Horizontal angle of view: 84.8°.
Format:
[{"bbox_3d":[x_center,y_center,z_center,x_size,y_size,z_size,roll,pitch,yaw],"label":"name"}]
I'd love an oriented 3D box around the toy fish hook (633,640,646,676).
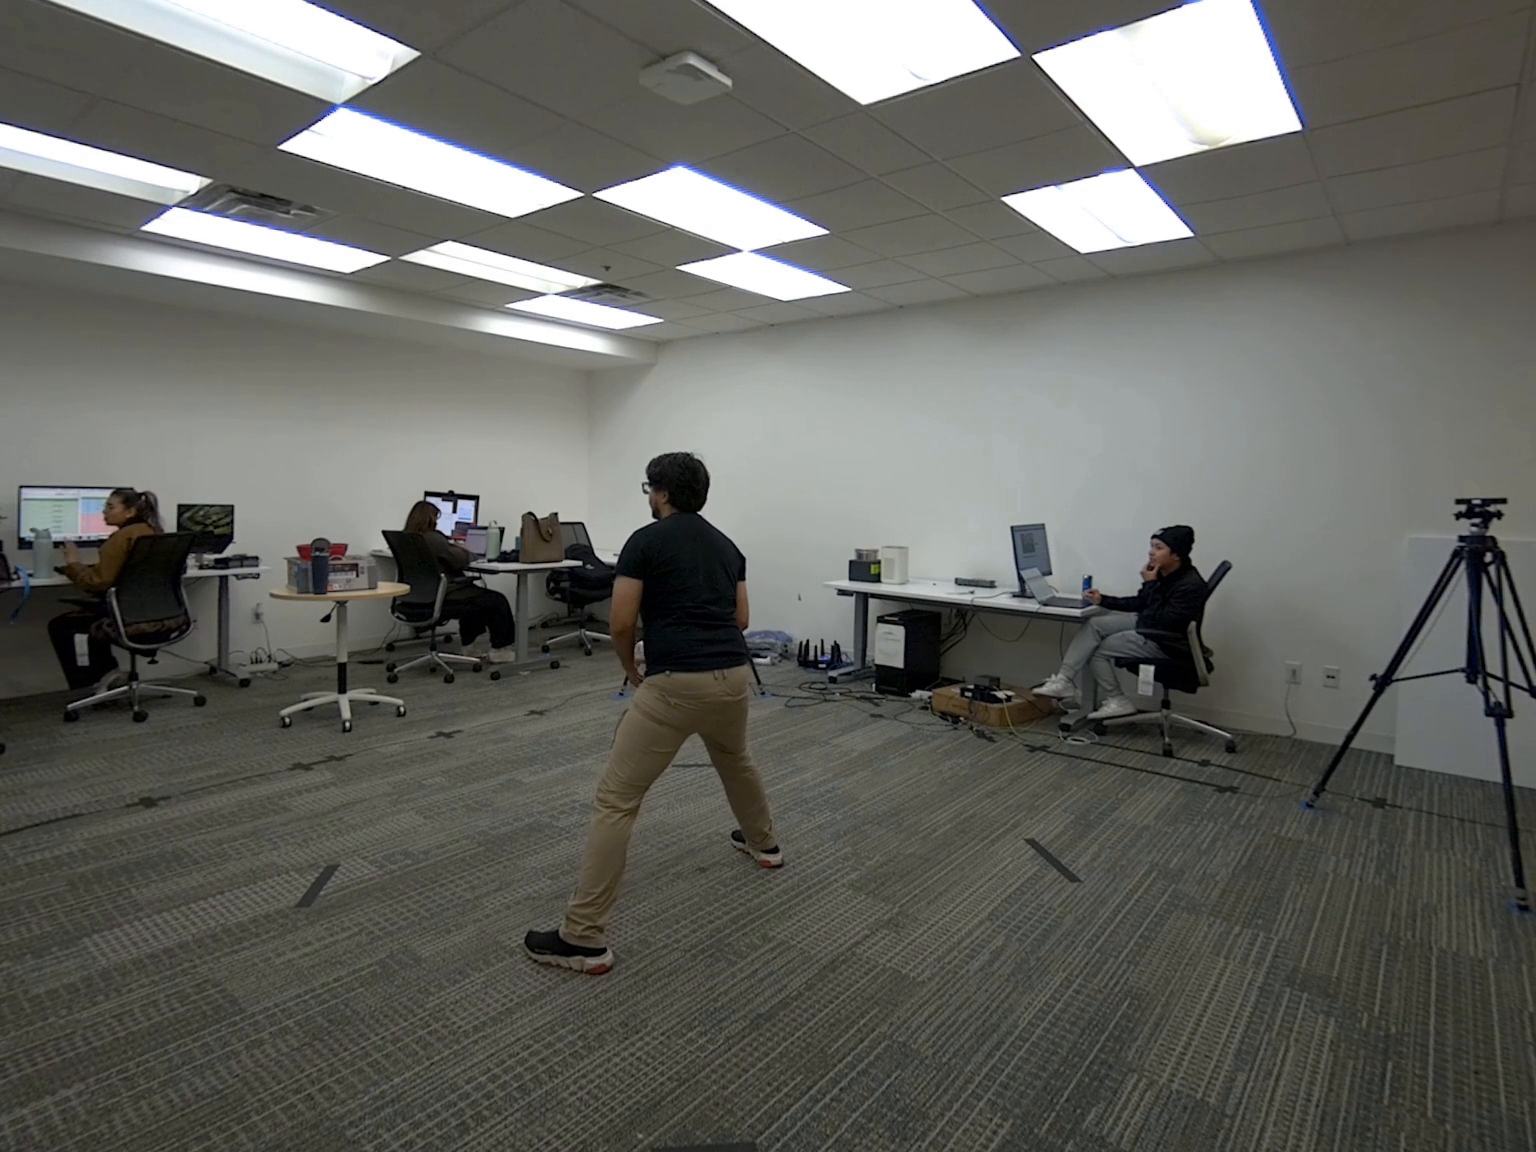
[{"bbox_3d":[-0.436,0.375,3.220,0.047,0.224,0.518,0,3,-23],"label":"toy fish hook"}]
